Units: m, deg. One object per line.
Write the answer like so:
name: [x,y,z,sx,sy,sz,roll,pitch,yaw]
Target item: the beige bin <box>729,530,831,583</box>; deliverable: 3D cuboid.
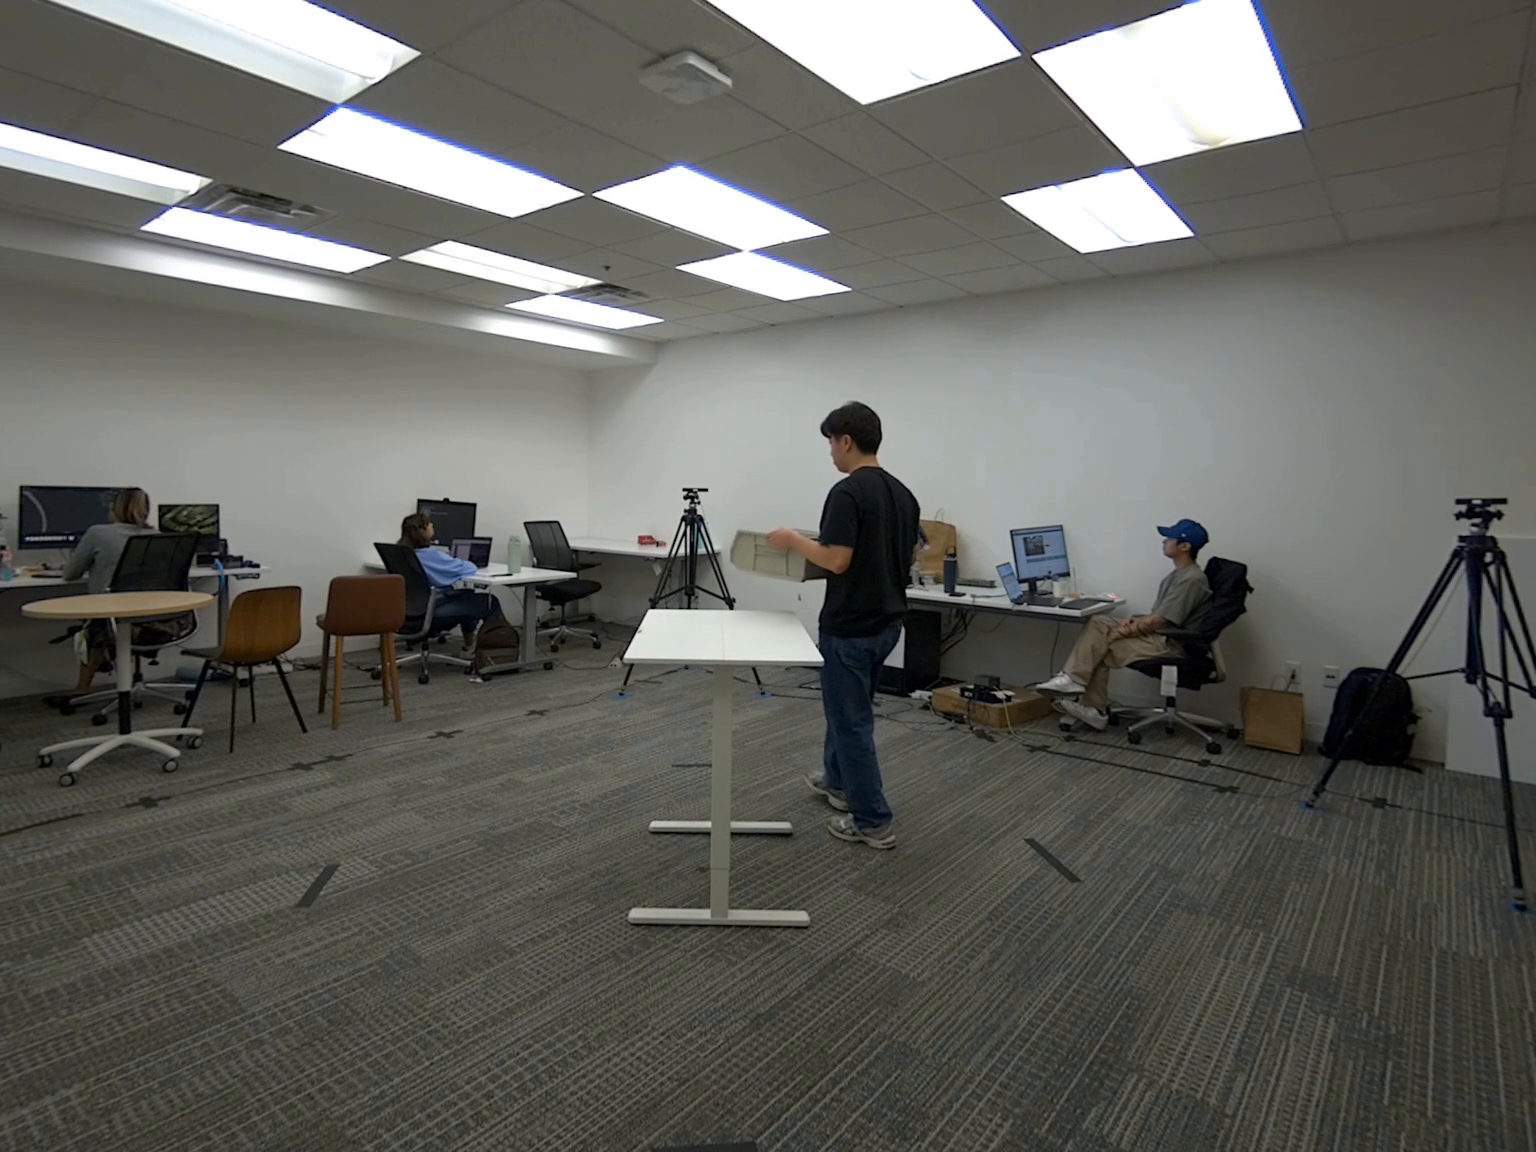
beige bin: [0.098,-0.098,3.606,0.391,0.188,0.410,11,10,36]
